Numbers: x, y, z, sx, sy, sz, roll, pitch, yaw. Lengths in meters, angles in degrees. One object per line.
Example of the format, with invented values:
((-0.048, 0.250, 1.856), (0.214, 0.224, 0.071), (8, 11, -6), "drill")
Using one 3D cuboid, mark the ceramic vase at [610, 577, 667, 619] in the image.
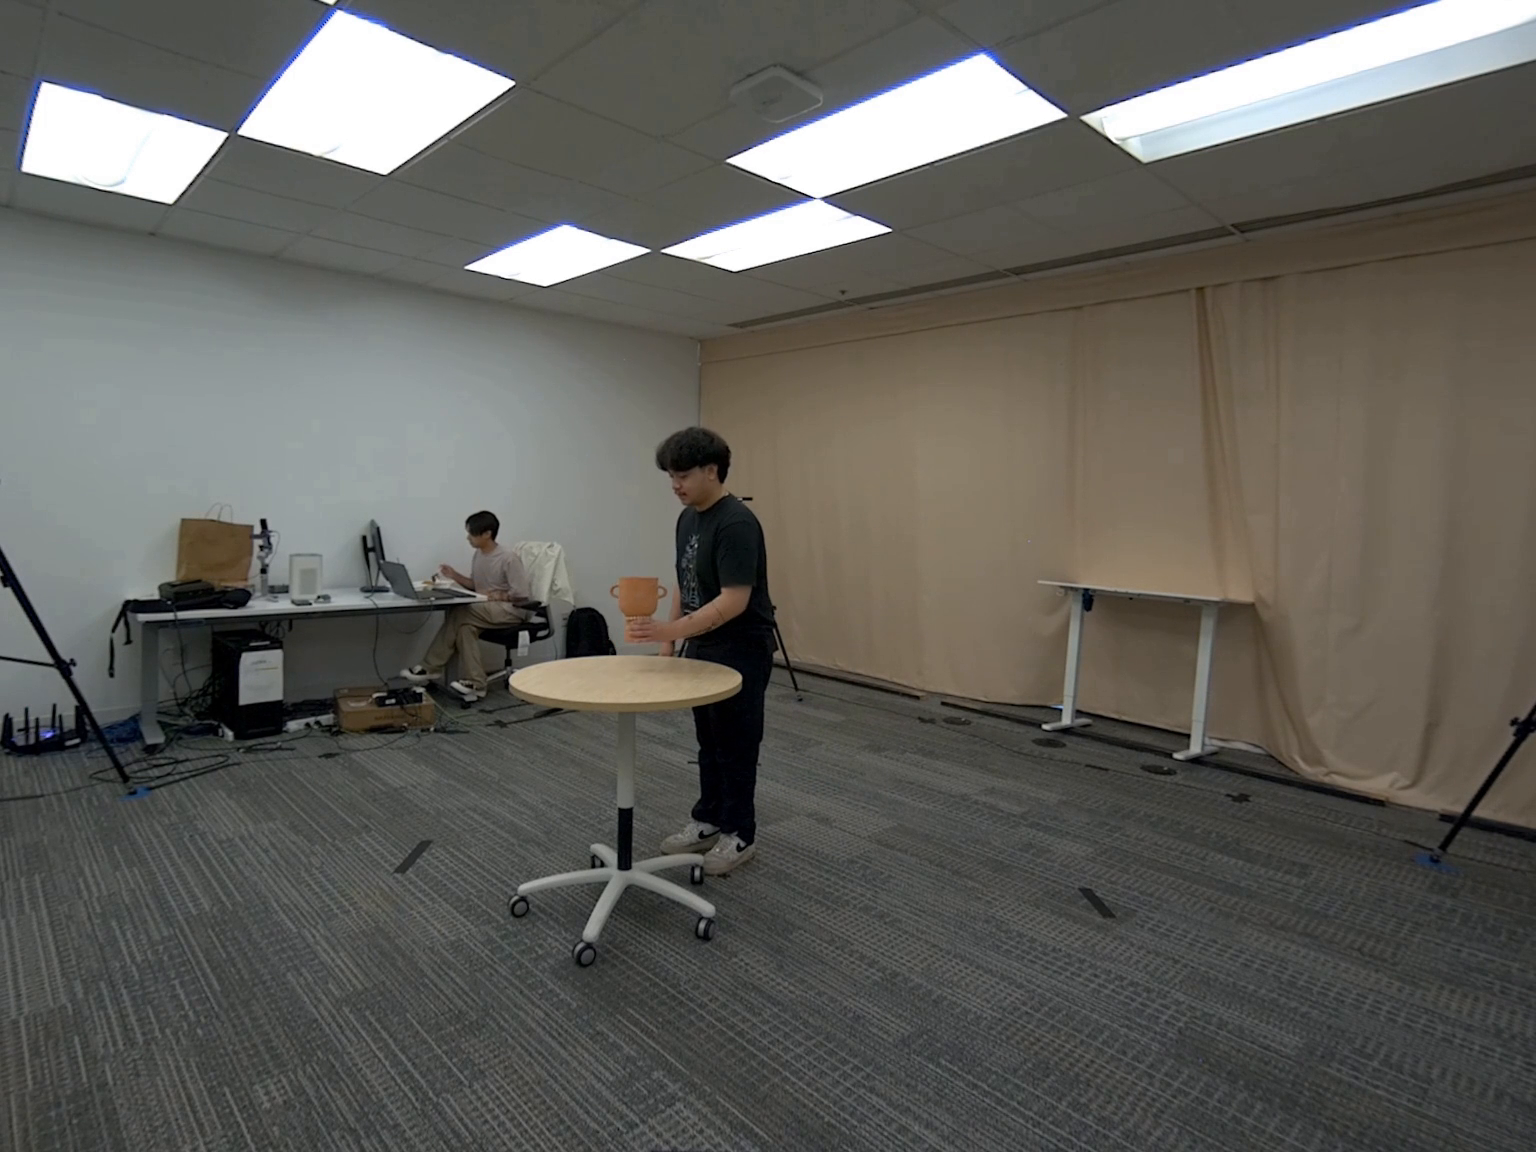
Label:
((-0.457, 0.118, 2.879), (0.162, 0.220, 0.131), (-2, -3, 41), "ceramic vase")
